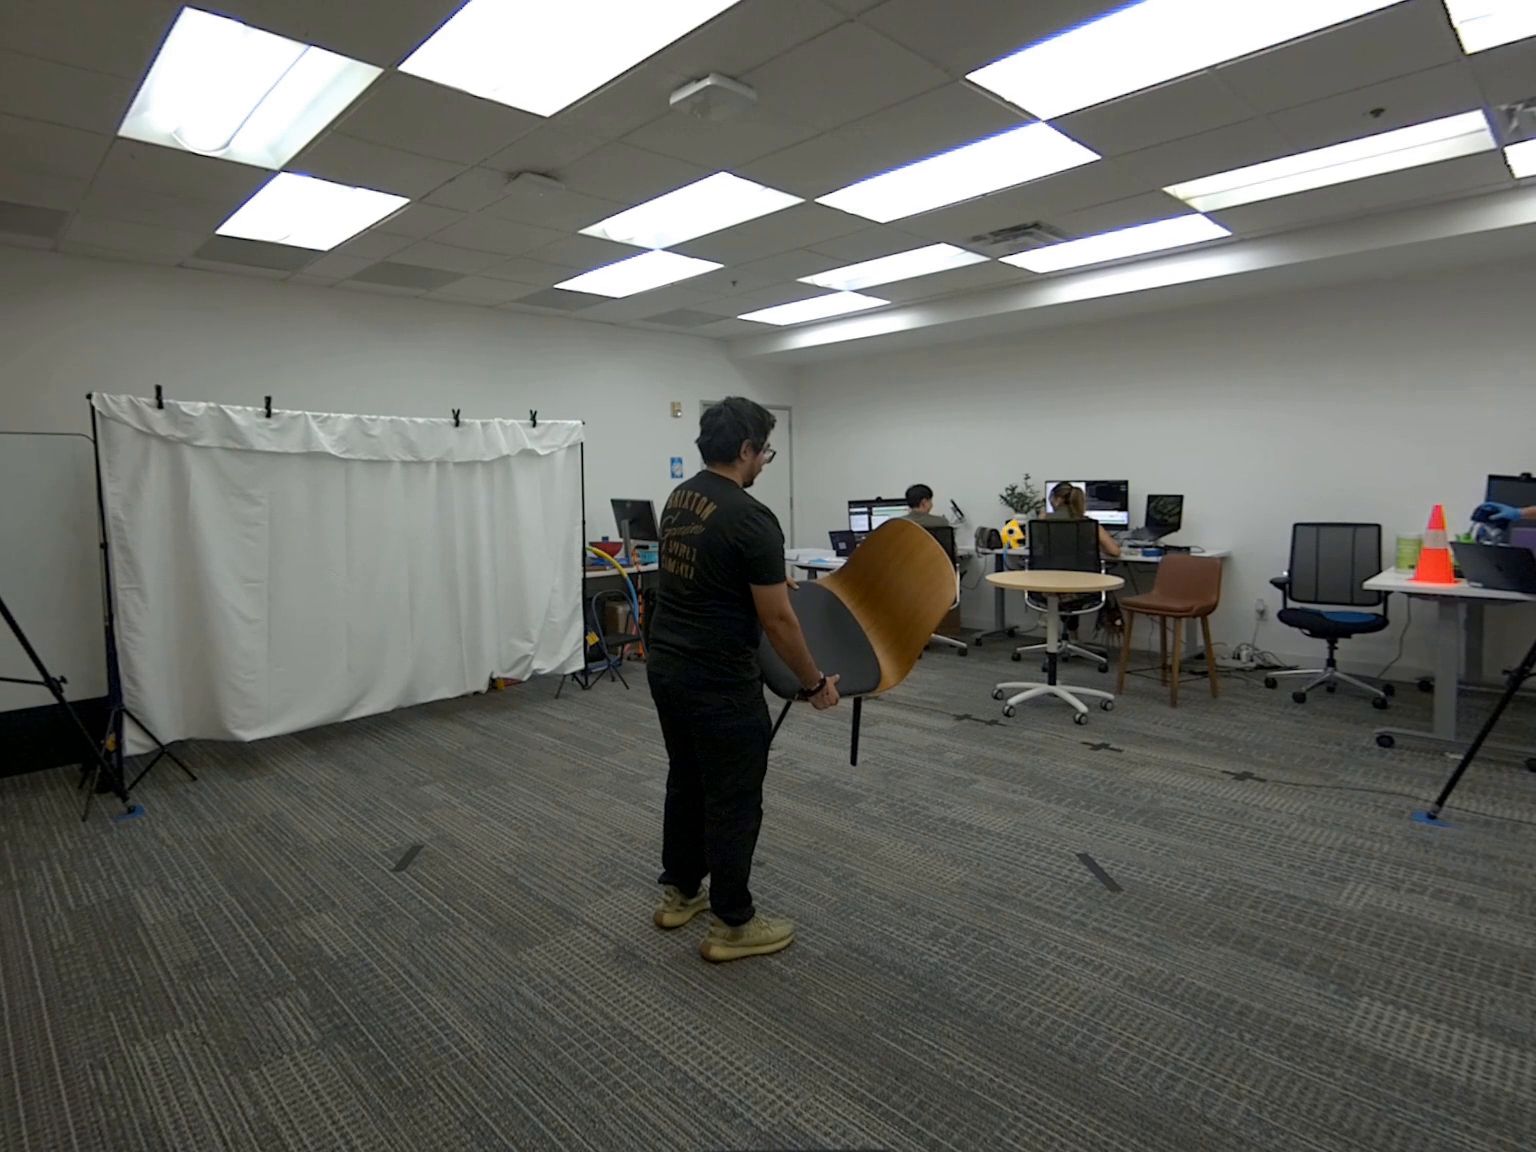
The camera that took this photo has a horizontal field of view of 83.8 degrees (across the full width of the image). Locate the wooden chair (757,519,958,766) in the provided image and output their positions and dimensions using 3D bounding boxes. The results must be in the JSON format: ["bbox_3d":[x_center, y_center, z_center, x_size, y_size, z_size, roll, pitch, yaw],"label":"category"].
[{"bbox_3d":[0.157,0.228,2.751,0.510,0.868,0.496,0,45,-32],"label":"wooden chair"}]
